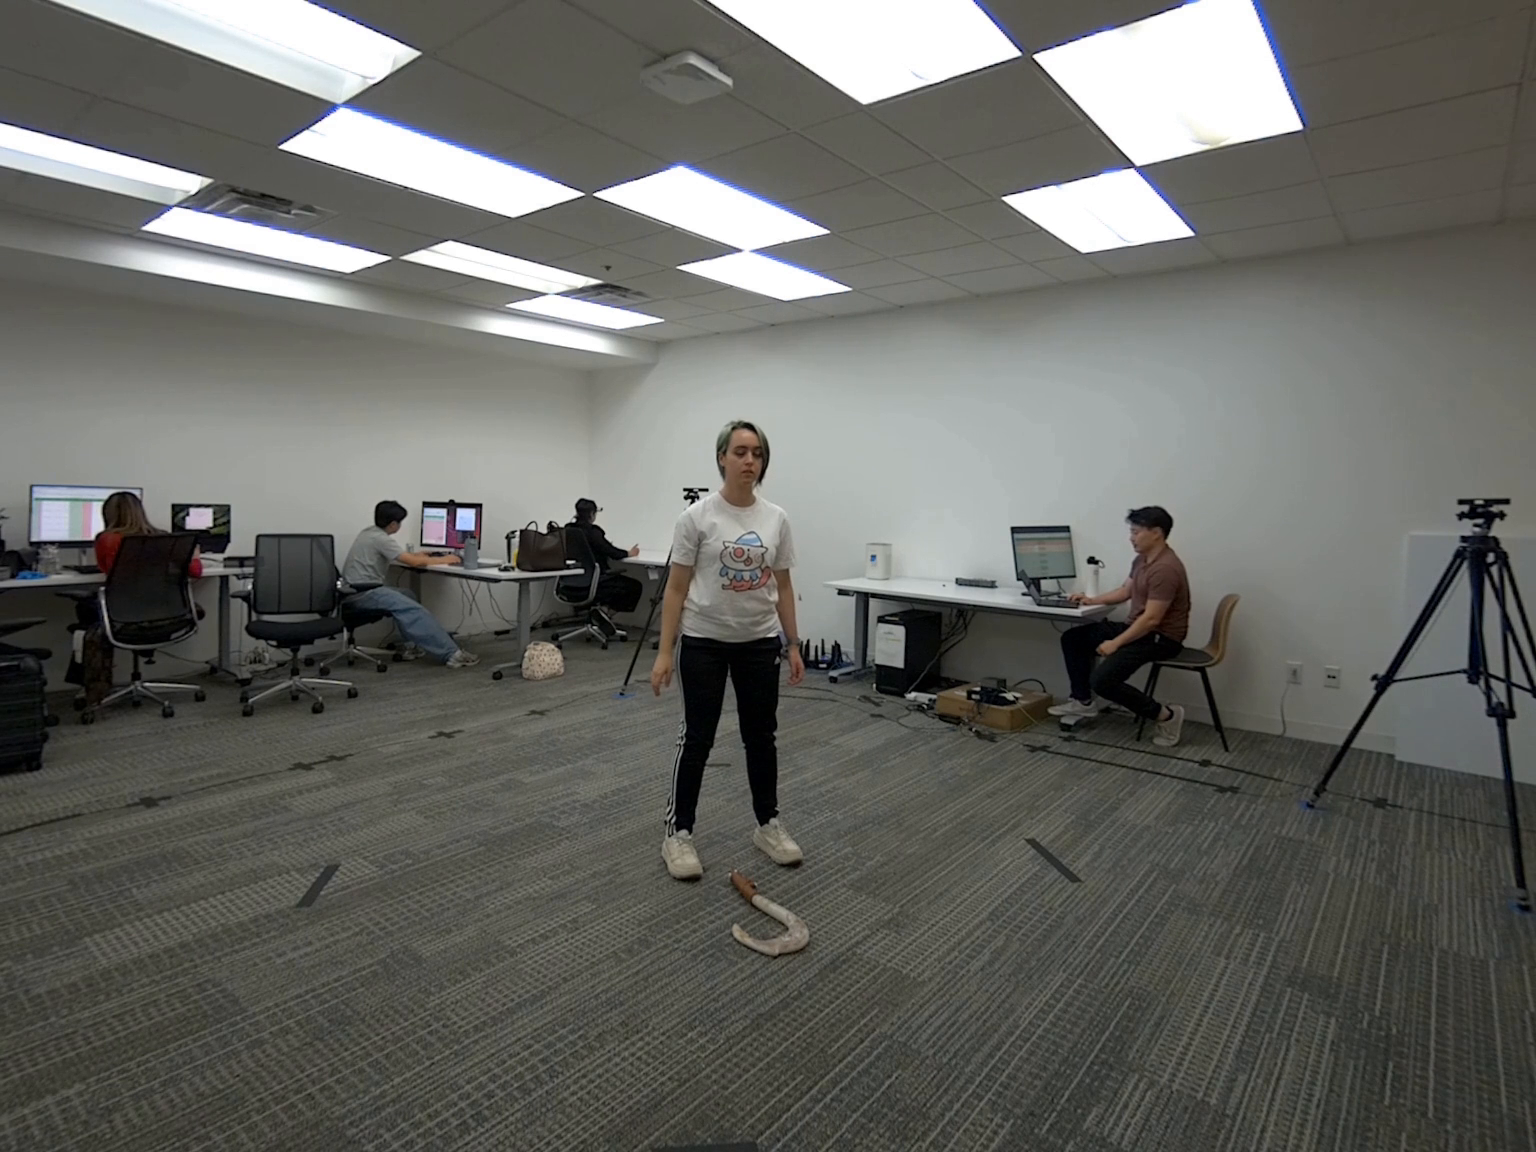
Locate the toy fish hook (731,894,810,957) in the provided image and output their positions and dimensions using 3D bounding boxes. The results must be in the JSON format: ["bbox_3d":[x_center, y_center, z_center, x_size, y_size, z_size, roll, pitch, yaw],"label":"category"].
[{"bbox_3d":[-0.065,1.084,2.762,0.219,0.048,0.521,-1,6,-27],"label":"toy fish hook"}]
